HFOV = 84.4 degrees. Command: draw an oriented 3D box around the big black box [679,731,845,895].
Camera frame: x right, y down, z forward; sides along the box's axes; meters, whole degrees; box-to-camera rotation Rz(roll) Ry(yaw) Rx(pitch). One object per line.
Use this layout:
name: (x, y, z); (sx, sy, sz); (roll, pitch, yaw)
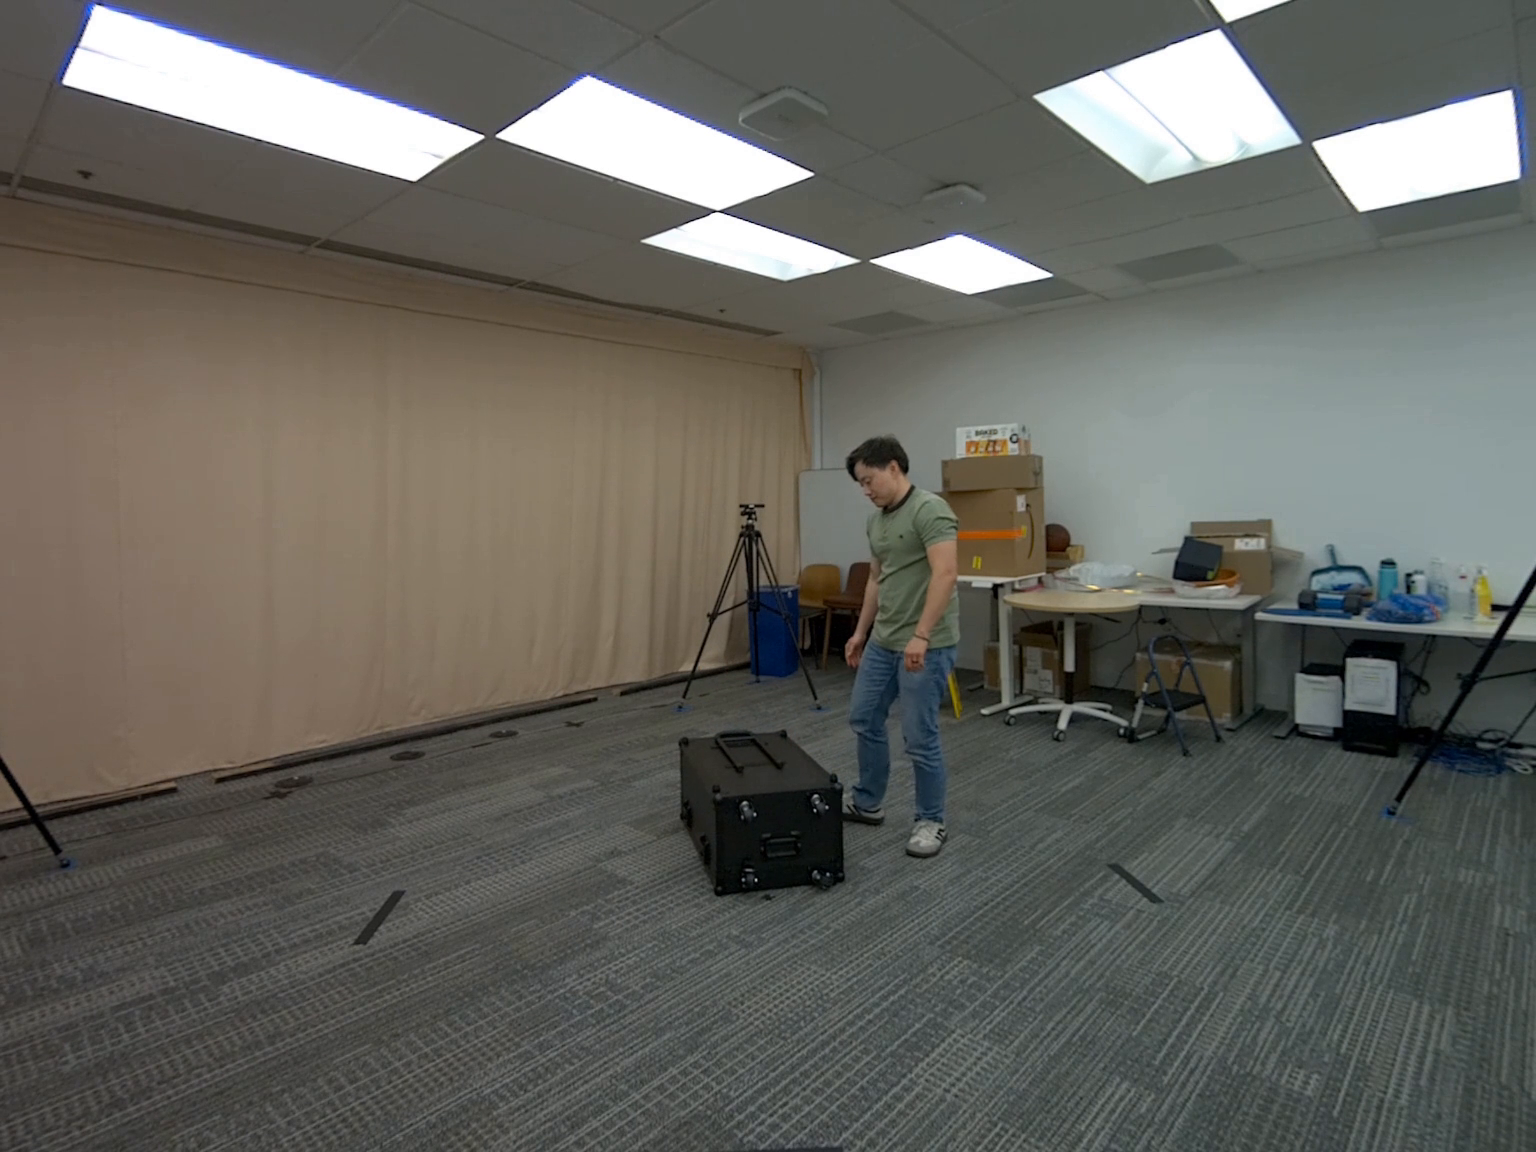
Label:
big black box: (-0.040, 0.910, 3.379); (0.514, 0.395, 0.876); (-2, 6, -14)
